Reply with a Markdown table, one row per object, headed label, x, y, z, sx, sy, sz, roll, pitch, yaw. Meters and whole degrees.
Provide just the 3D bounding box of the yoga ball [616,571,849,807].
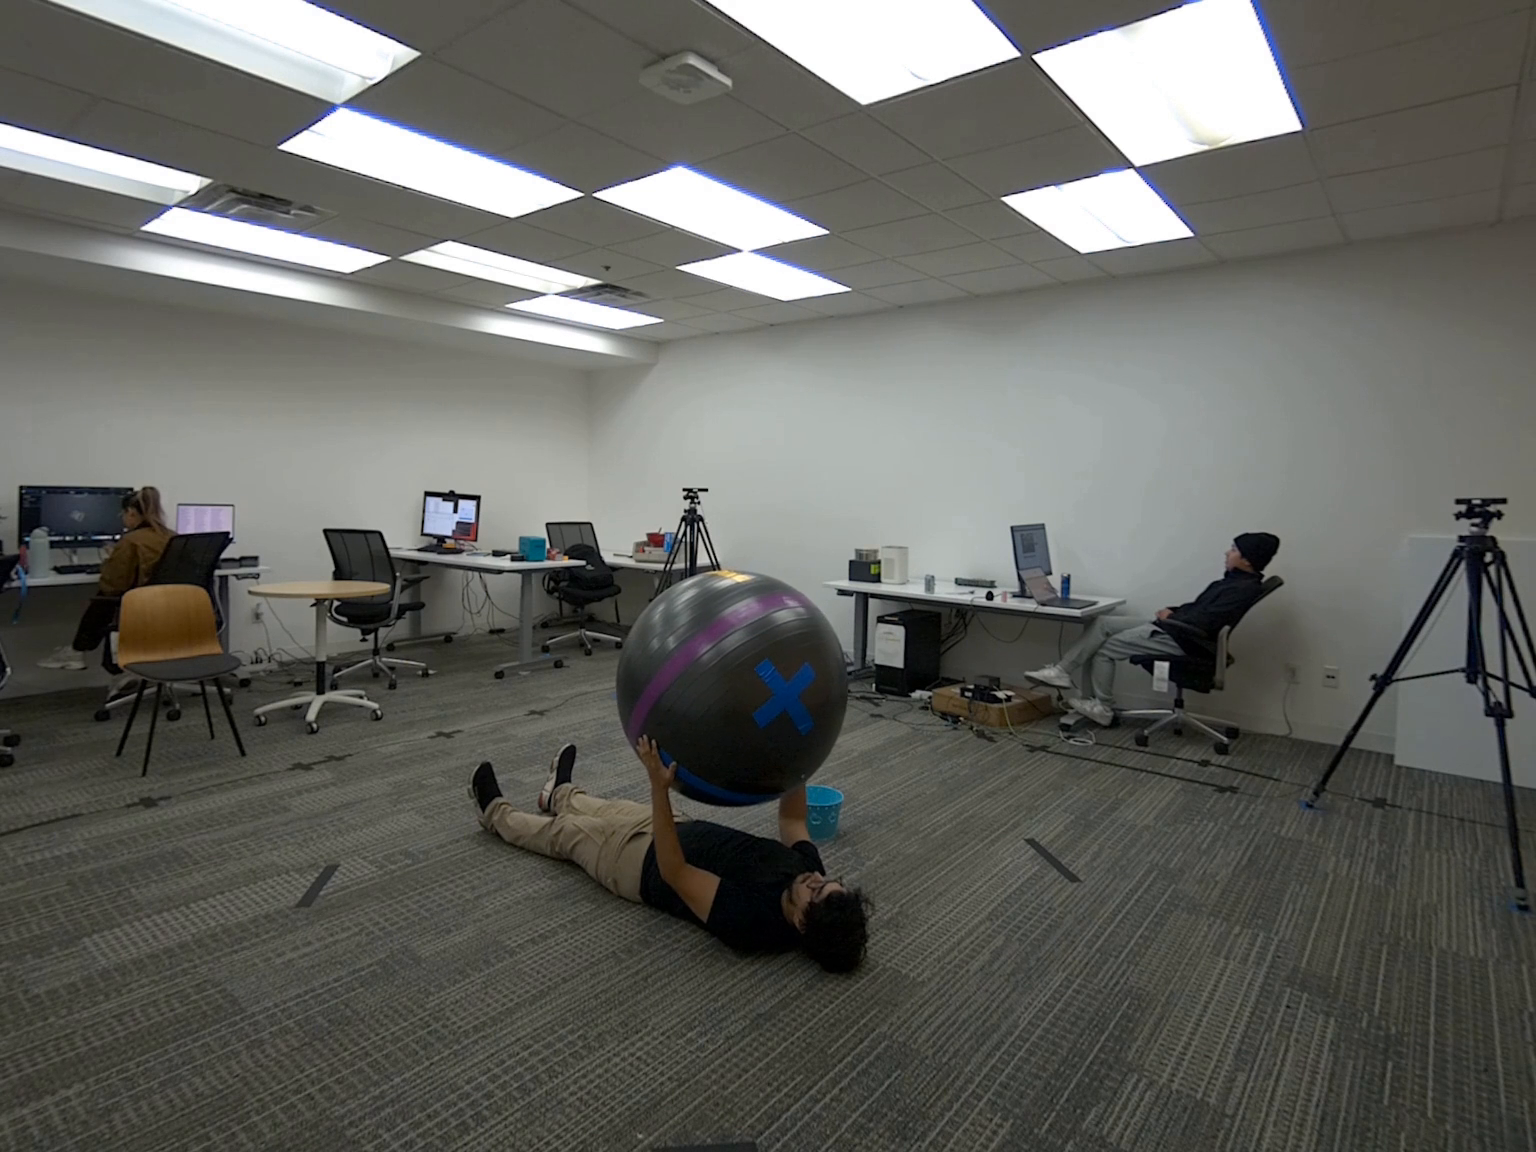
| label | x | y | z | sx | sy | sz | roll | pitch | yaw |
| --- | --- | --- | --- | --- | --- | --- | --- | --- | --- |
| yoga ball | -0.128 | 0.367 | 2.786 | 0.757 | 0.756 | 0.761 | 0 | 4 | -2 |
